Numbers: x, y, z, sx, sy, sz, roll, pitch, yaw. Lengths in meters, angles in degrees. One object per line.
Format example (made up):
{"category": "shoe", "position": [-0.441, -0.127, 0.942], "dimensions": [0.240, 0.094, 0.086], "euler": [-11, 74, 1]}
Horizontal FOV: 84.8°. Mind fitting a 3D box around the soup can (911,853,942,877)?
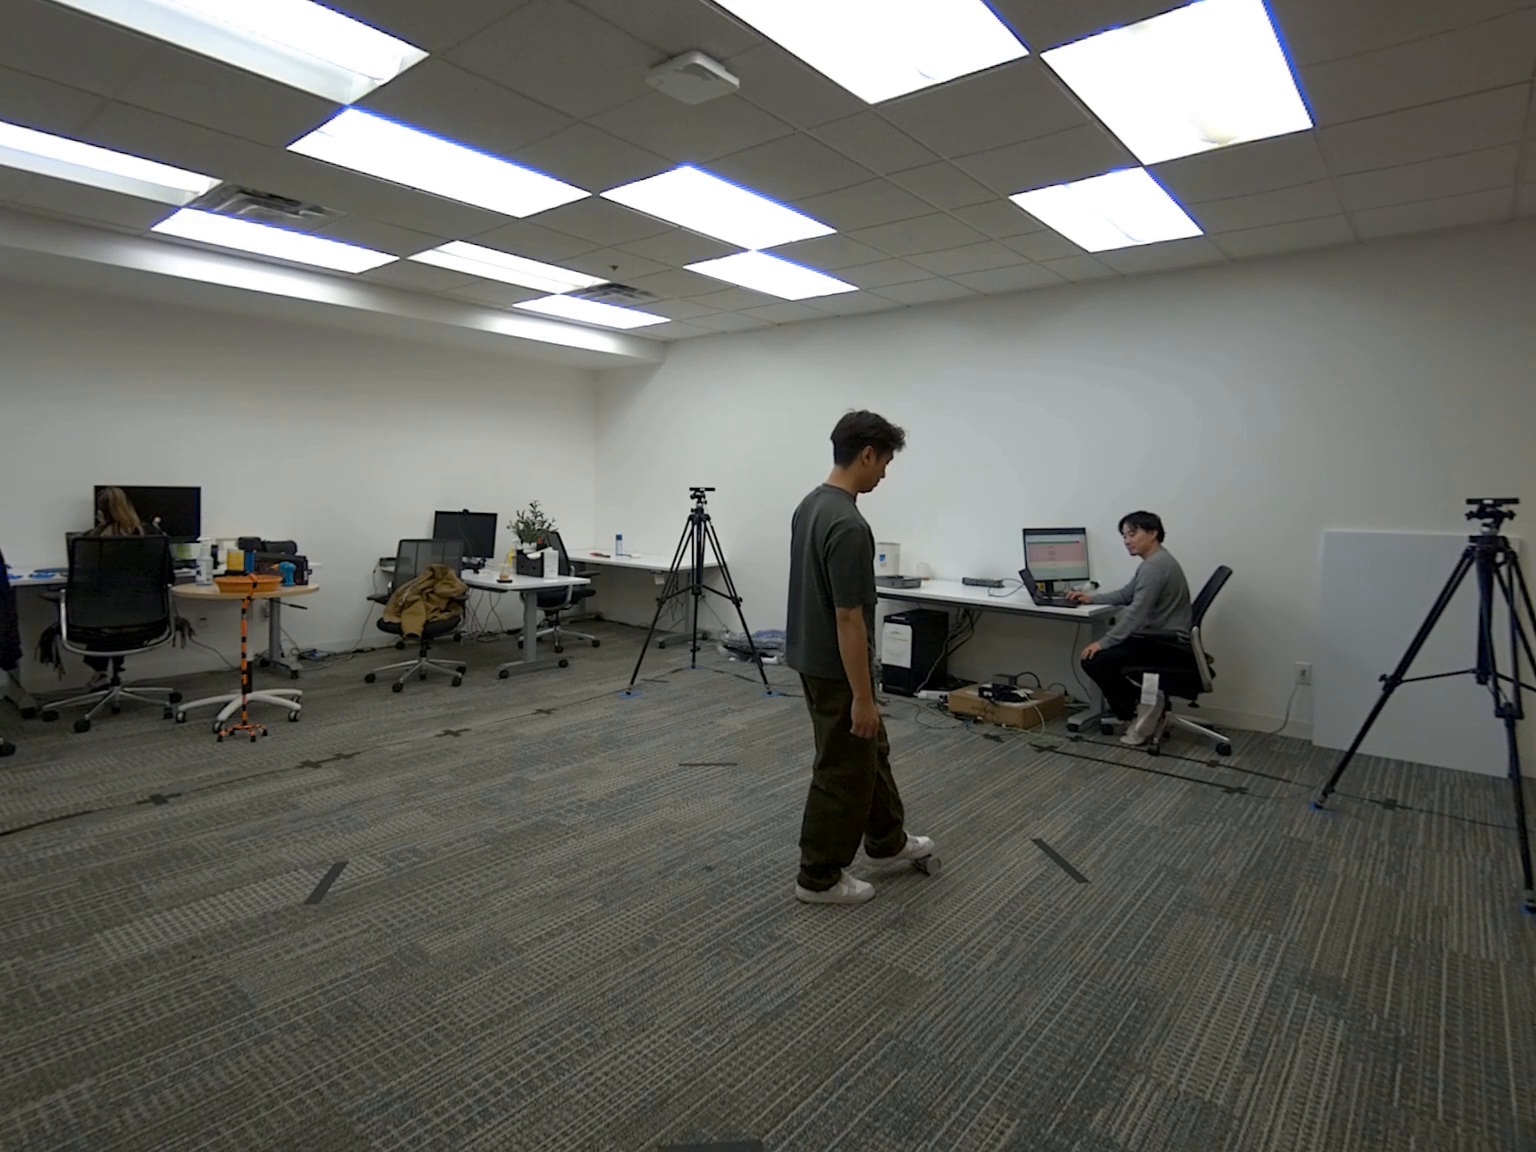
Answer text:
{"category": "soup can", "position": [0.569, 1.050, 3.151], "dimensions": [0.065, 0.066, 0.125], "euler": [-1, 10, -26]}
